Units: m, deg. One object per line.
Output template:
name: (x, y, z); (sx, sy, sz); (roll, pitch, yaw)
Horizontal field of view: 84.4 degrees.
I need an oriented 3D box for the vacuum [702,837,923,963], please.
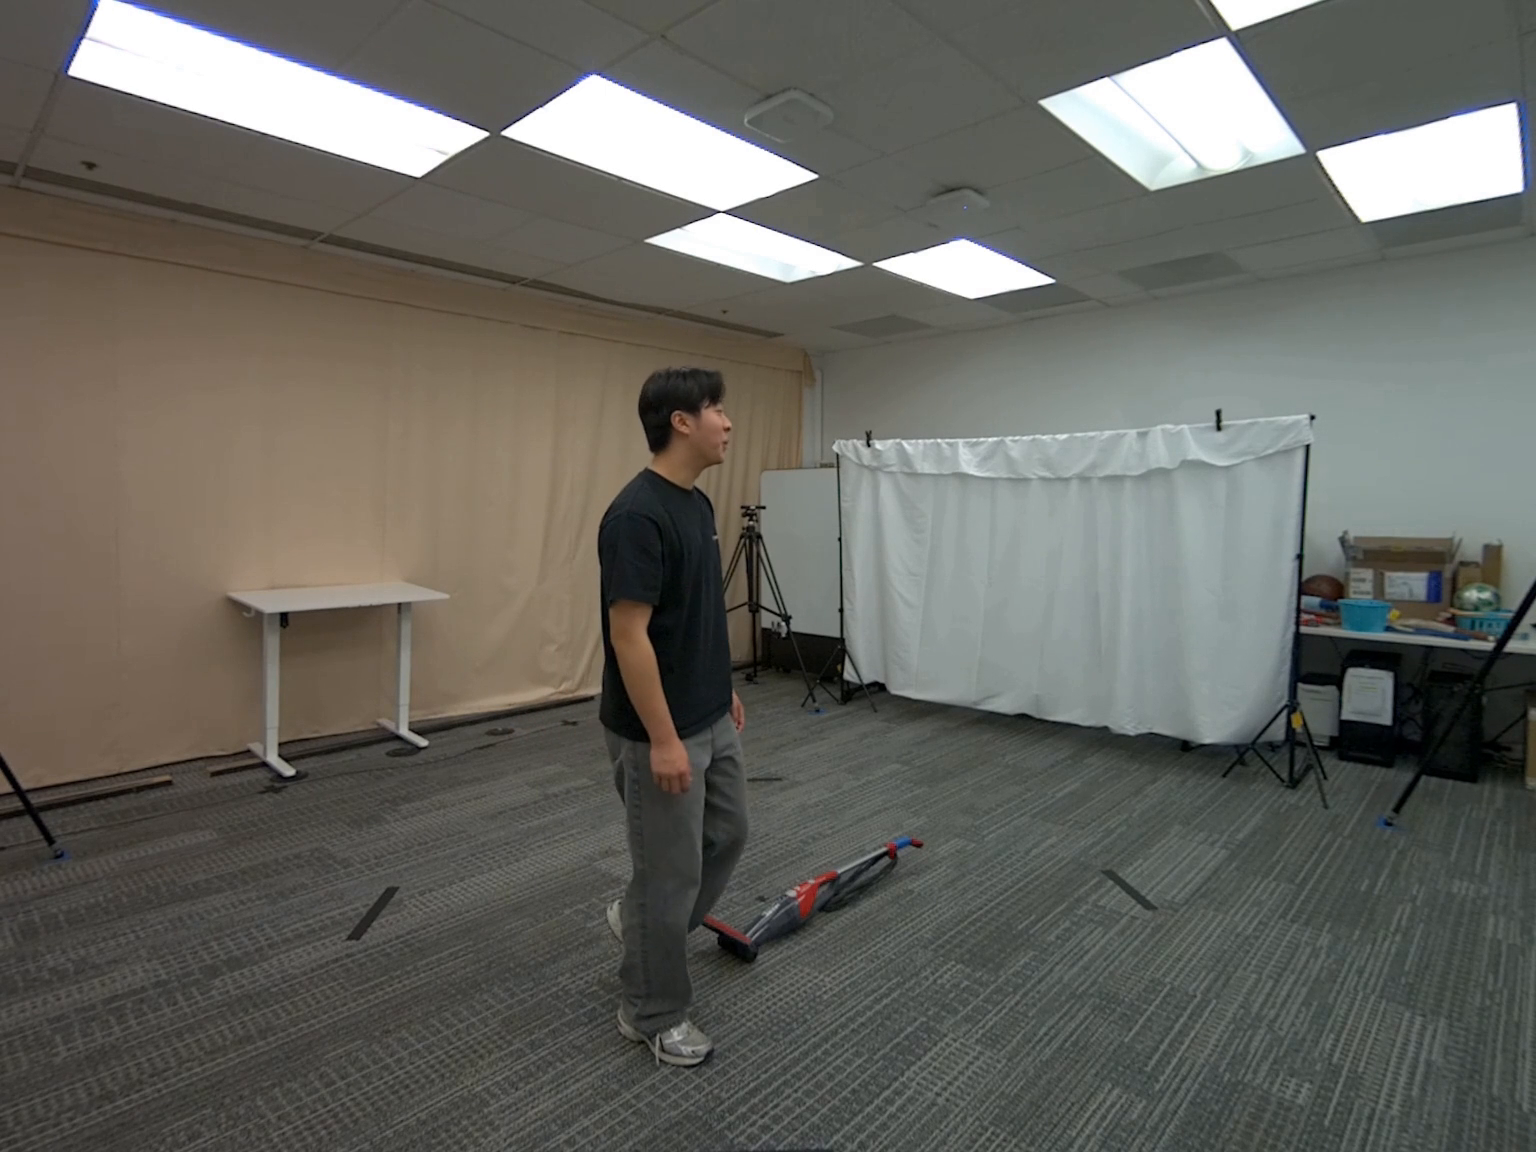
vacuum: (0.241, 1.094, 2.936); (1.017, 0.143, 0.261); (-5, 9, -44)
